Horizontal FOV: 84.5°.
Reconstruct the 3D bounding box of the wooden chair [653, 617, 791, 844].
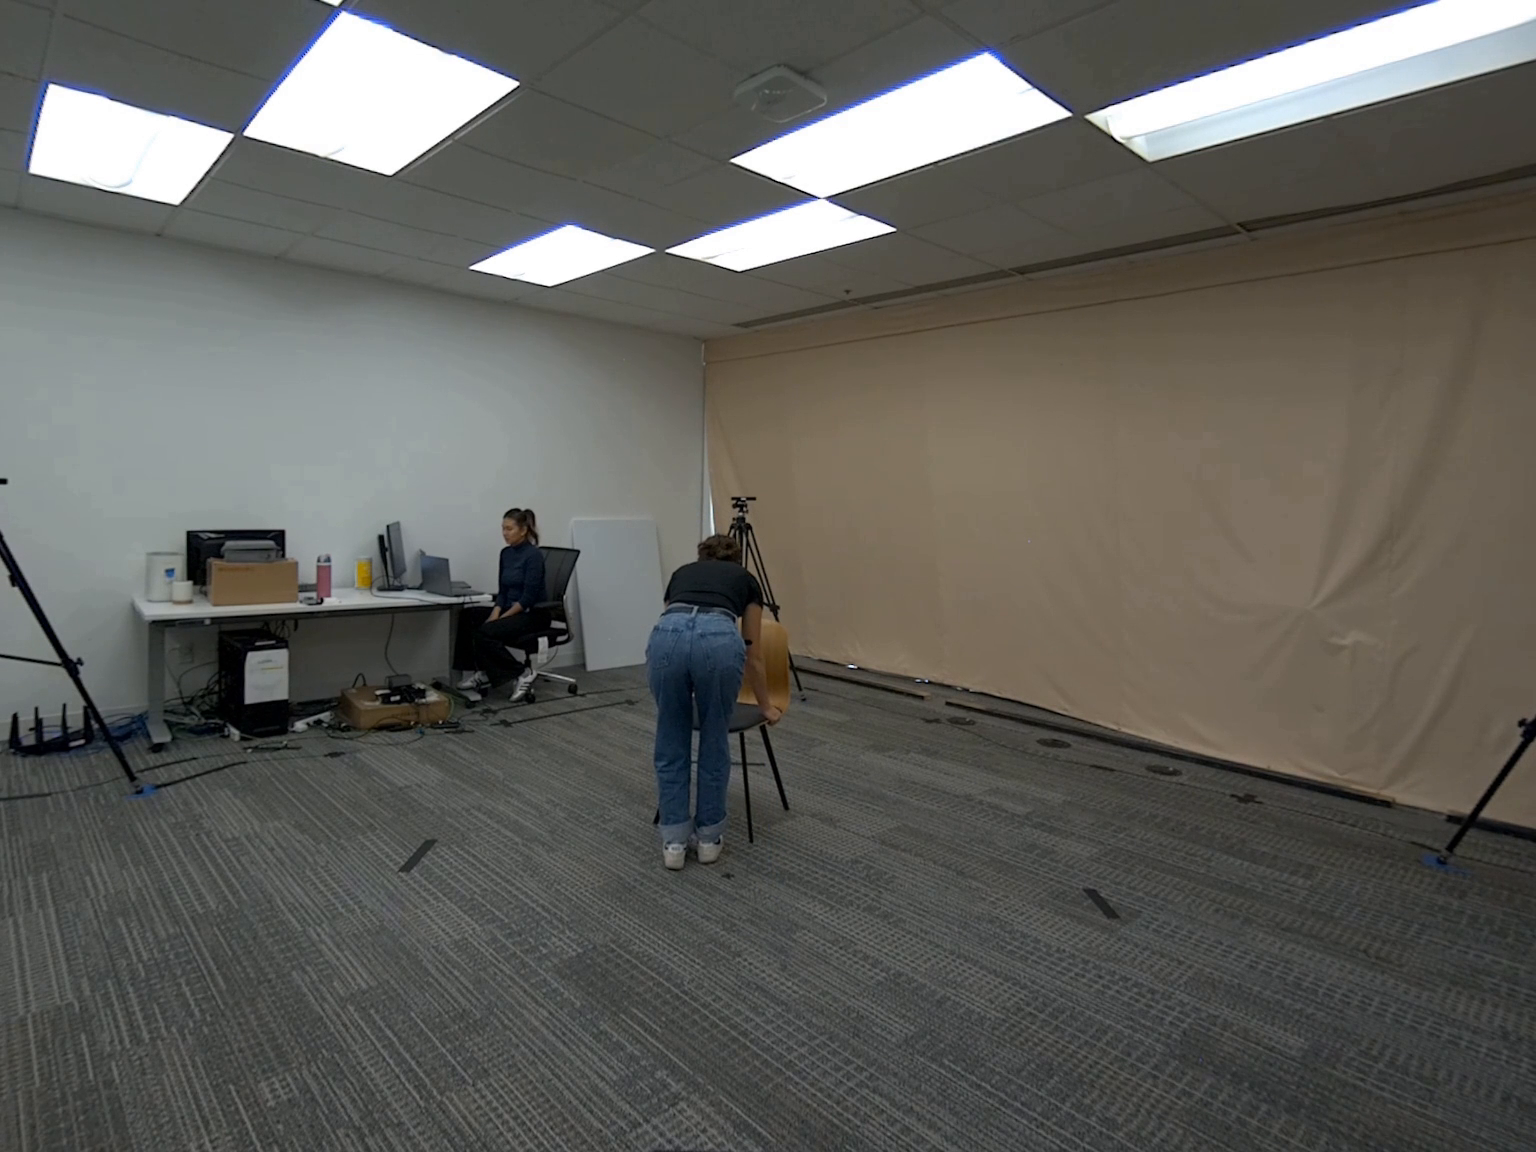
[{"bbox_3d":[-0.185,0.626,3.643,0.486,0.879,0.513,2,-2,22],"label":"wooden chair"}]
